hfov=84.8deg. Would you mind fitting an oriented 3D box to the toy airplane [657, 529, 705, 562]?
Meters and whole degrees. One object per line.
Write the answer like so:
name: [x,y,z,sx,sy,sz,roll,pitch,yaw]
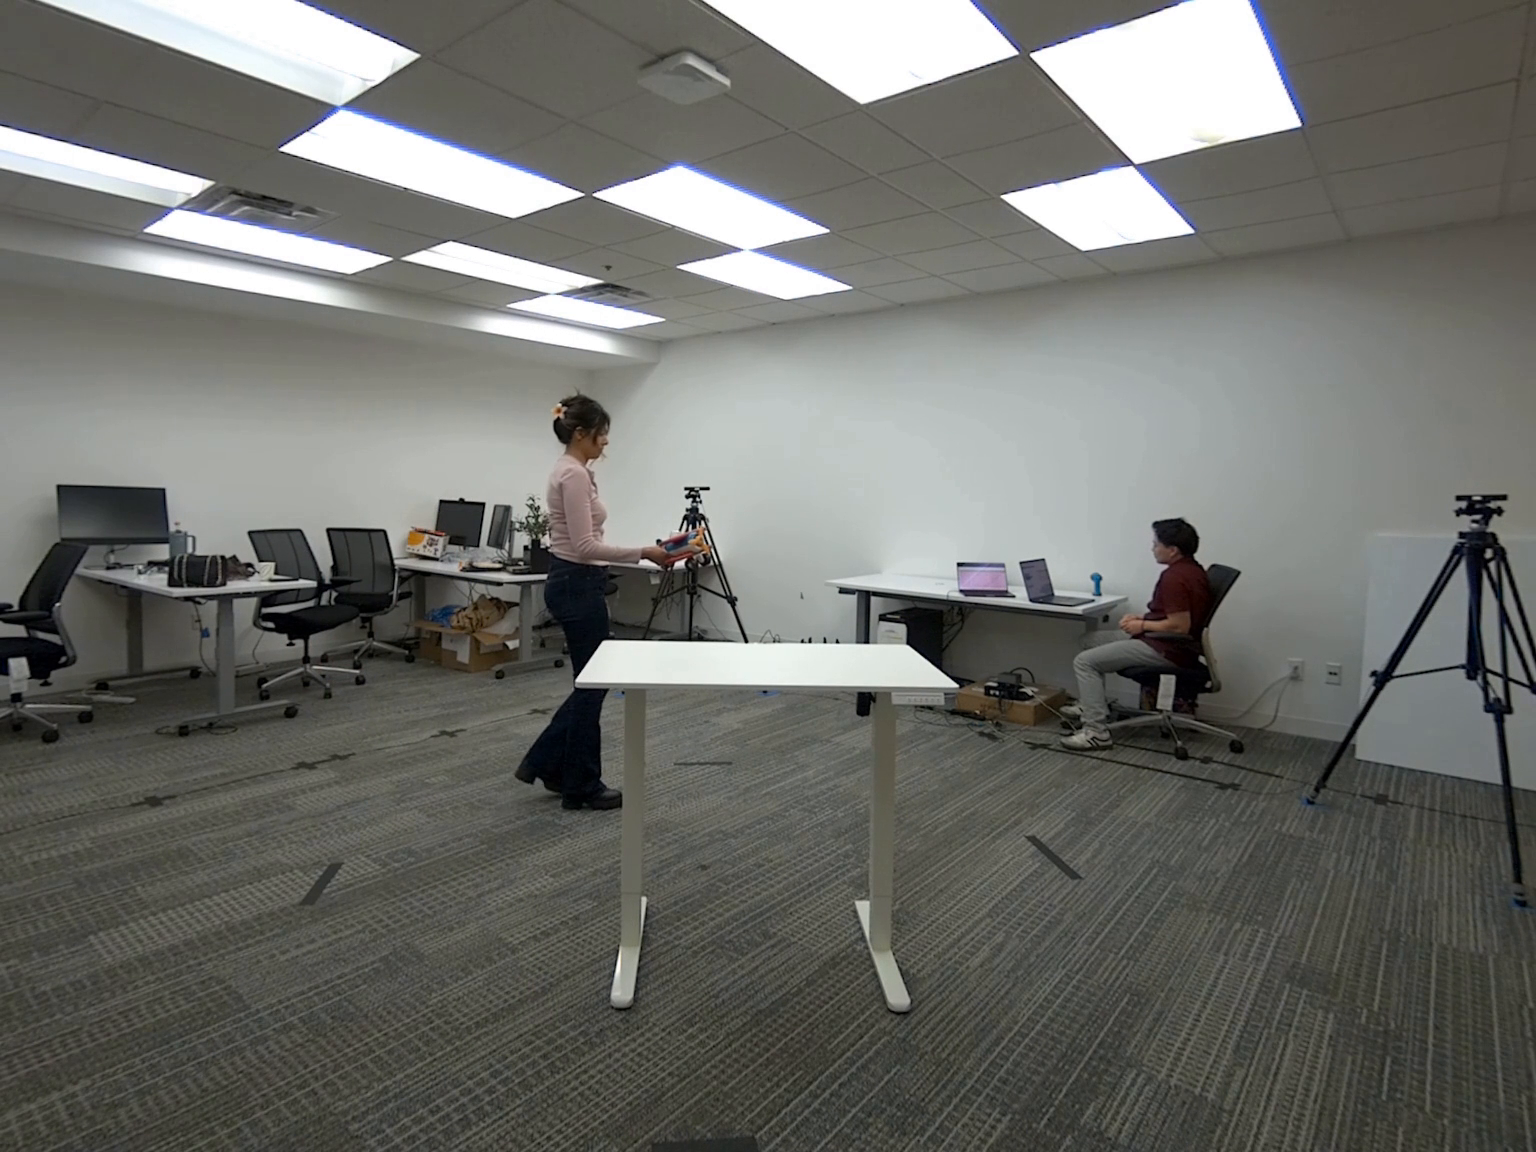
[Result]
toy airplane: [-0.382,-0.102,3.500,0.262,0.154,0.252,-8,12,10]
